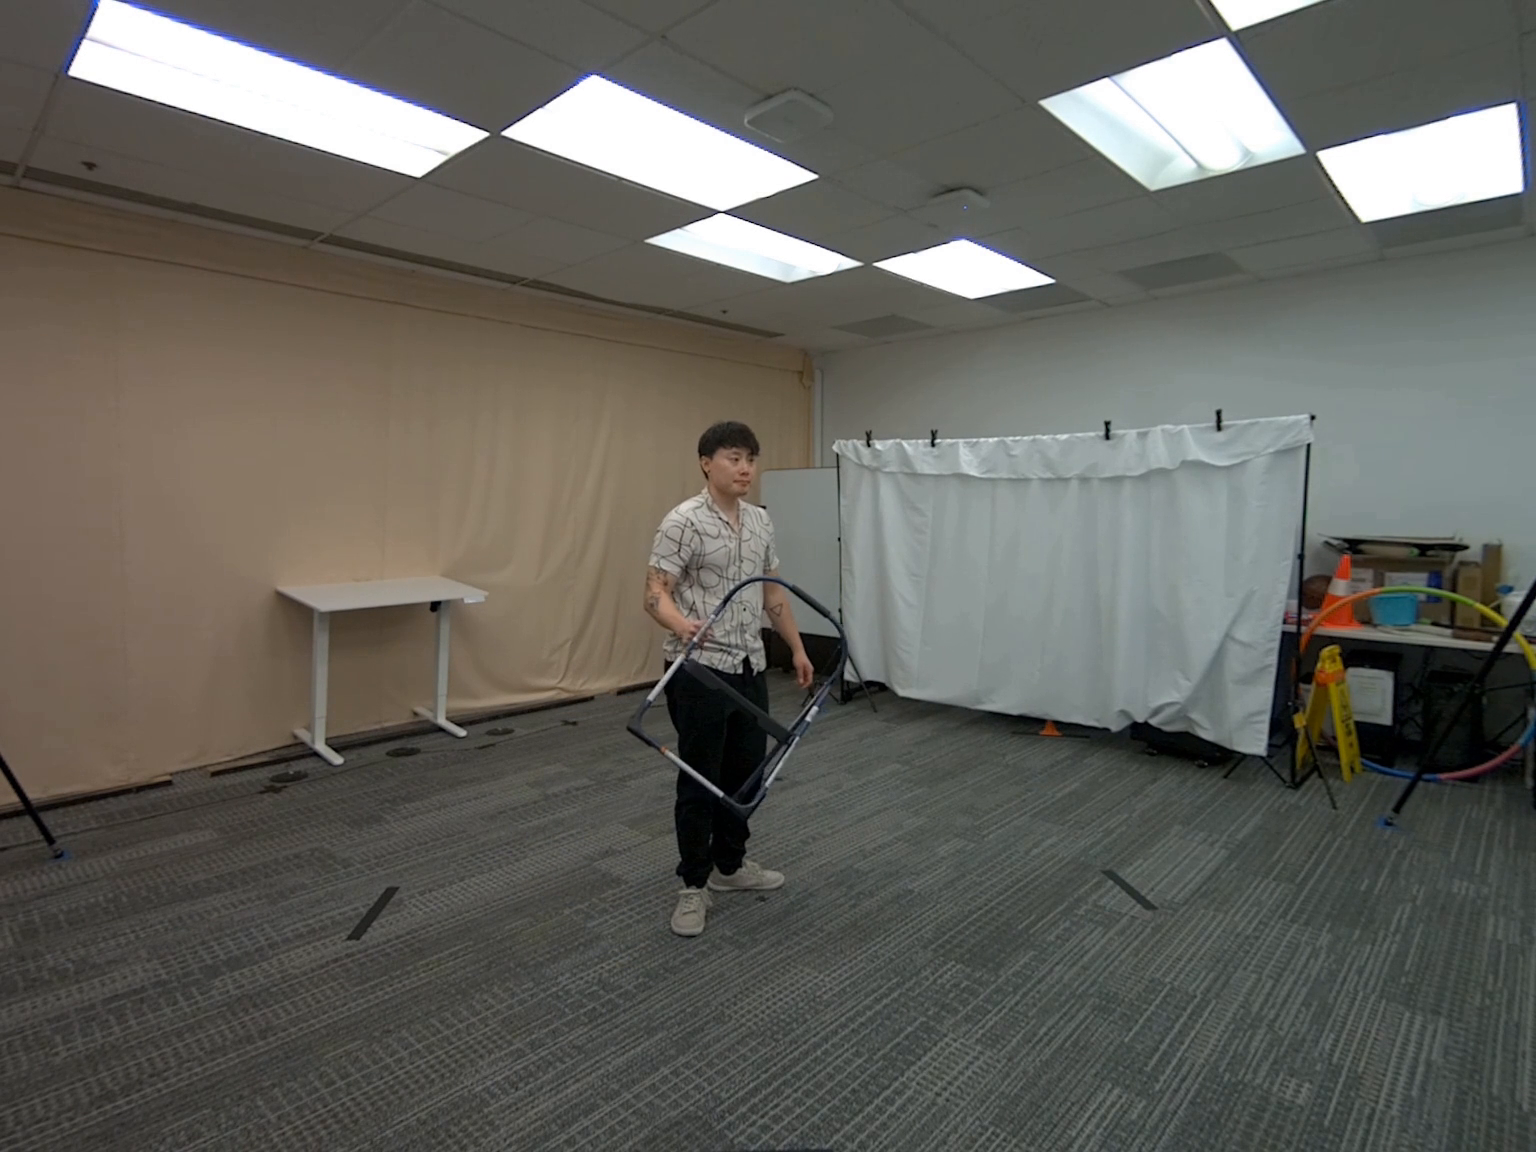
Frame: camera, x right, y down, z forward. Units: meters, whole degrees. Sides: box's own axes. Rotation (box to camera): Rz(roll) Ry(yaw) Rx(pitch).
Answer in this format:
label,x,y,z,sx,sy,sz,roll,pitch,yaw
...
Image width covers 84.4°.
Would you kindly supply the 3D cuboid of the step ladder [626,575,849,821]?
label,x,y,z,sx,sy,sz,roll,pitch,yaw
step ladder,-0.065,0.318,2.466,0.432,0.605,0.349,36,-7,1
